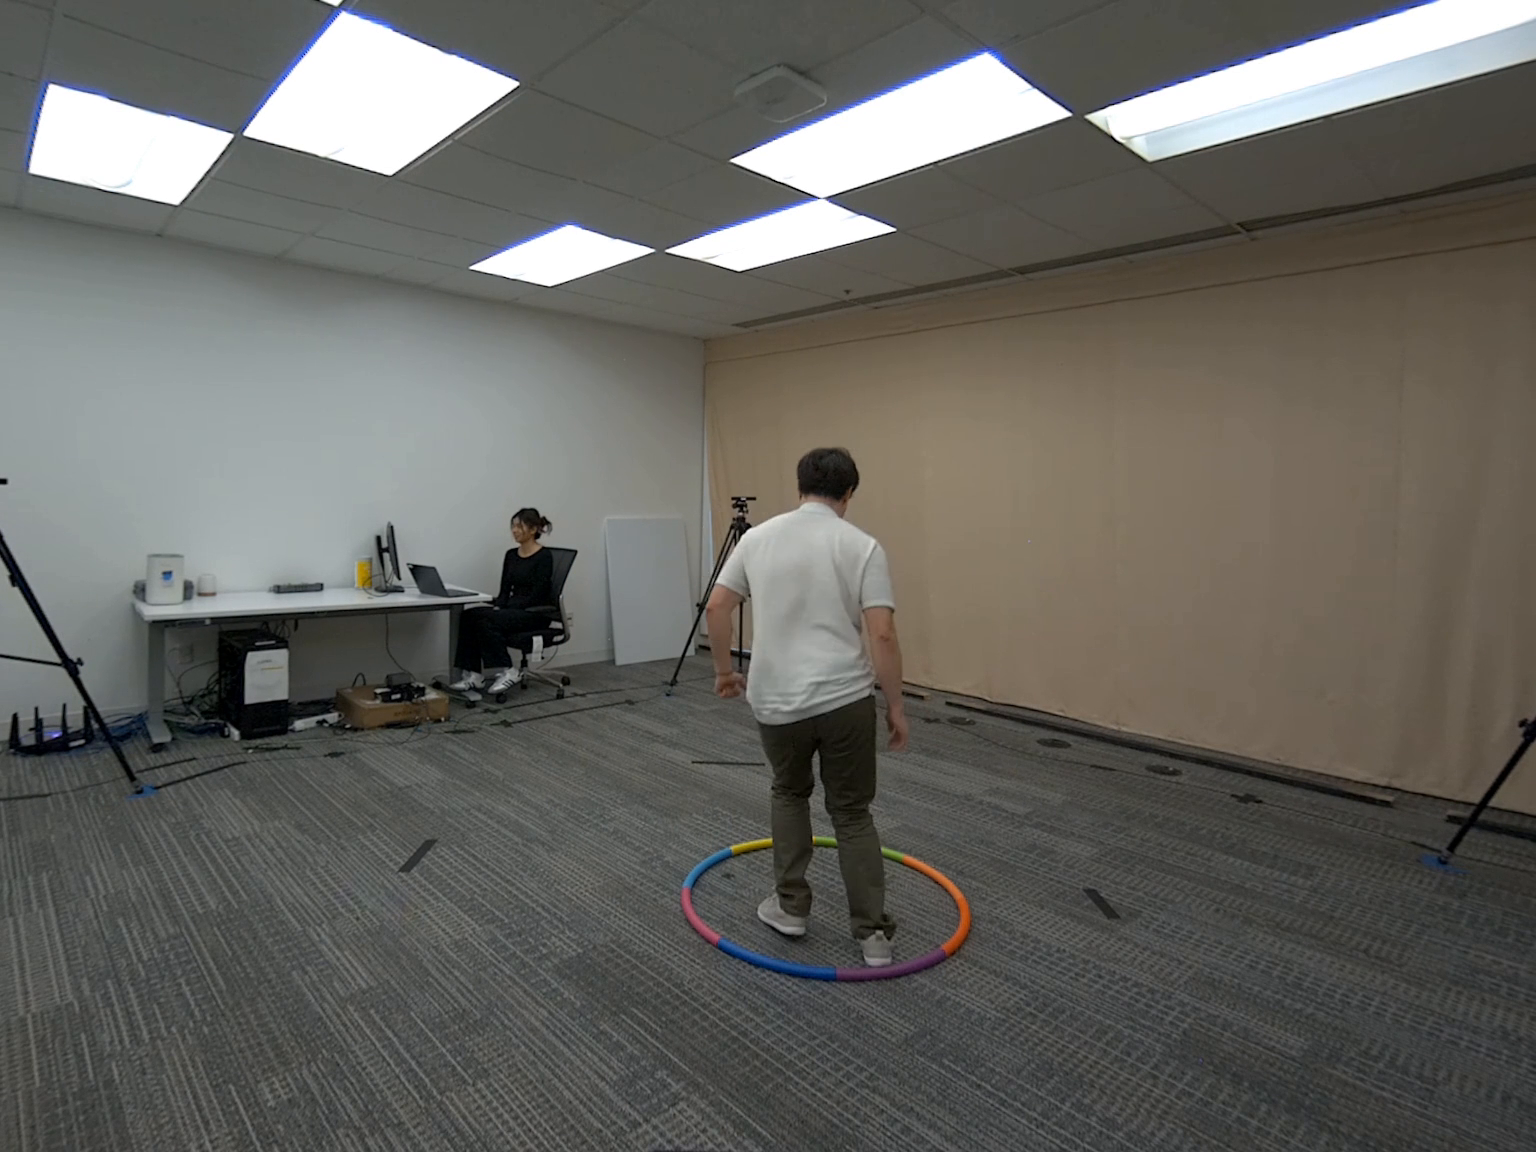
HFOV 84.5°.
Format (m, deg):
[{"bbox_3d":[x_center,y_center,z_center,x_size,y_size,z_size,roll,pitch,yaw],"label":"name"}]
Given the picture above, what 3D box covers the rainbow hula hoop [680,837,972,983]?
[{"bbox_3d":[0.181,1.102,2.922,0.978,0.035,0.982,1,6,-1],"label":"rainbow hula hoop"}]
